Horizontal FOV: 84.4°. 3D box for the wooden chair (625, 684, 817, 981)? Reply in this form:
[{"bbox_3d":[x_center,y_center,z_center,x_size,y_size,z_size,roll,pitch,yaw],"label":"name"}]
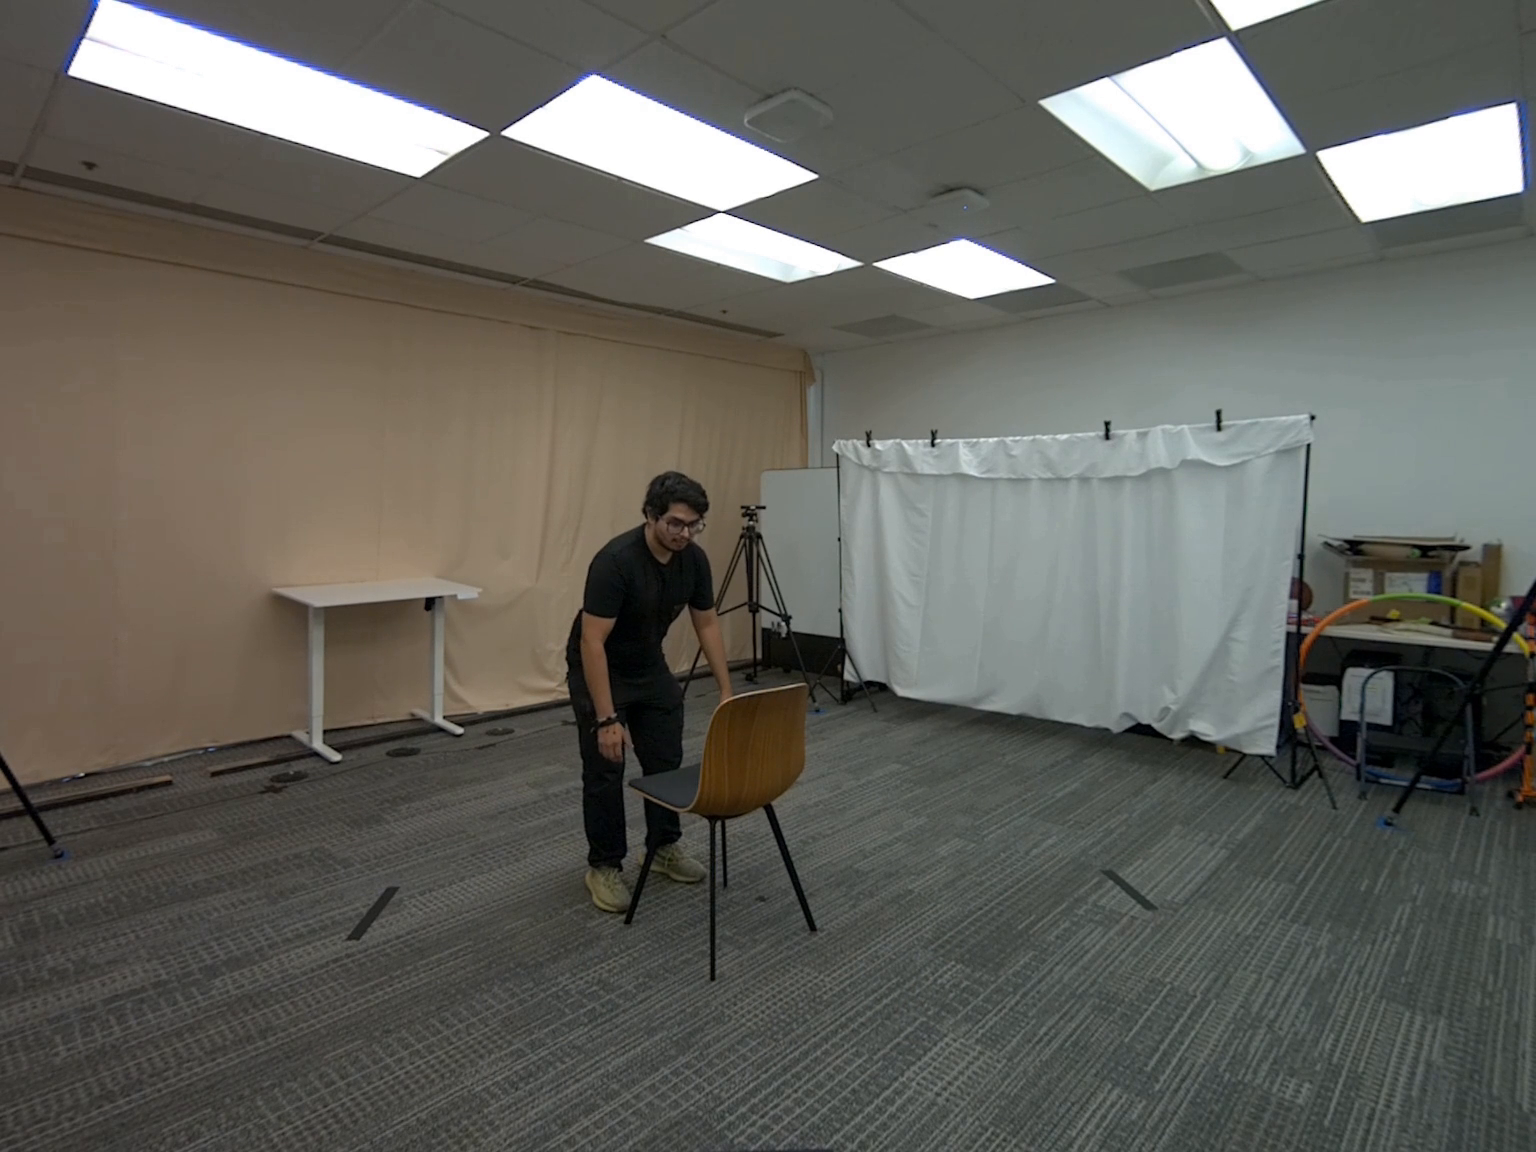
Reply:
[{"bbox_3d":[-0.160,0.738,2.753,0.463,0.874,0.541,-3,9,-42],"label":"wooden chair"}]
